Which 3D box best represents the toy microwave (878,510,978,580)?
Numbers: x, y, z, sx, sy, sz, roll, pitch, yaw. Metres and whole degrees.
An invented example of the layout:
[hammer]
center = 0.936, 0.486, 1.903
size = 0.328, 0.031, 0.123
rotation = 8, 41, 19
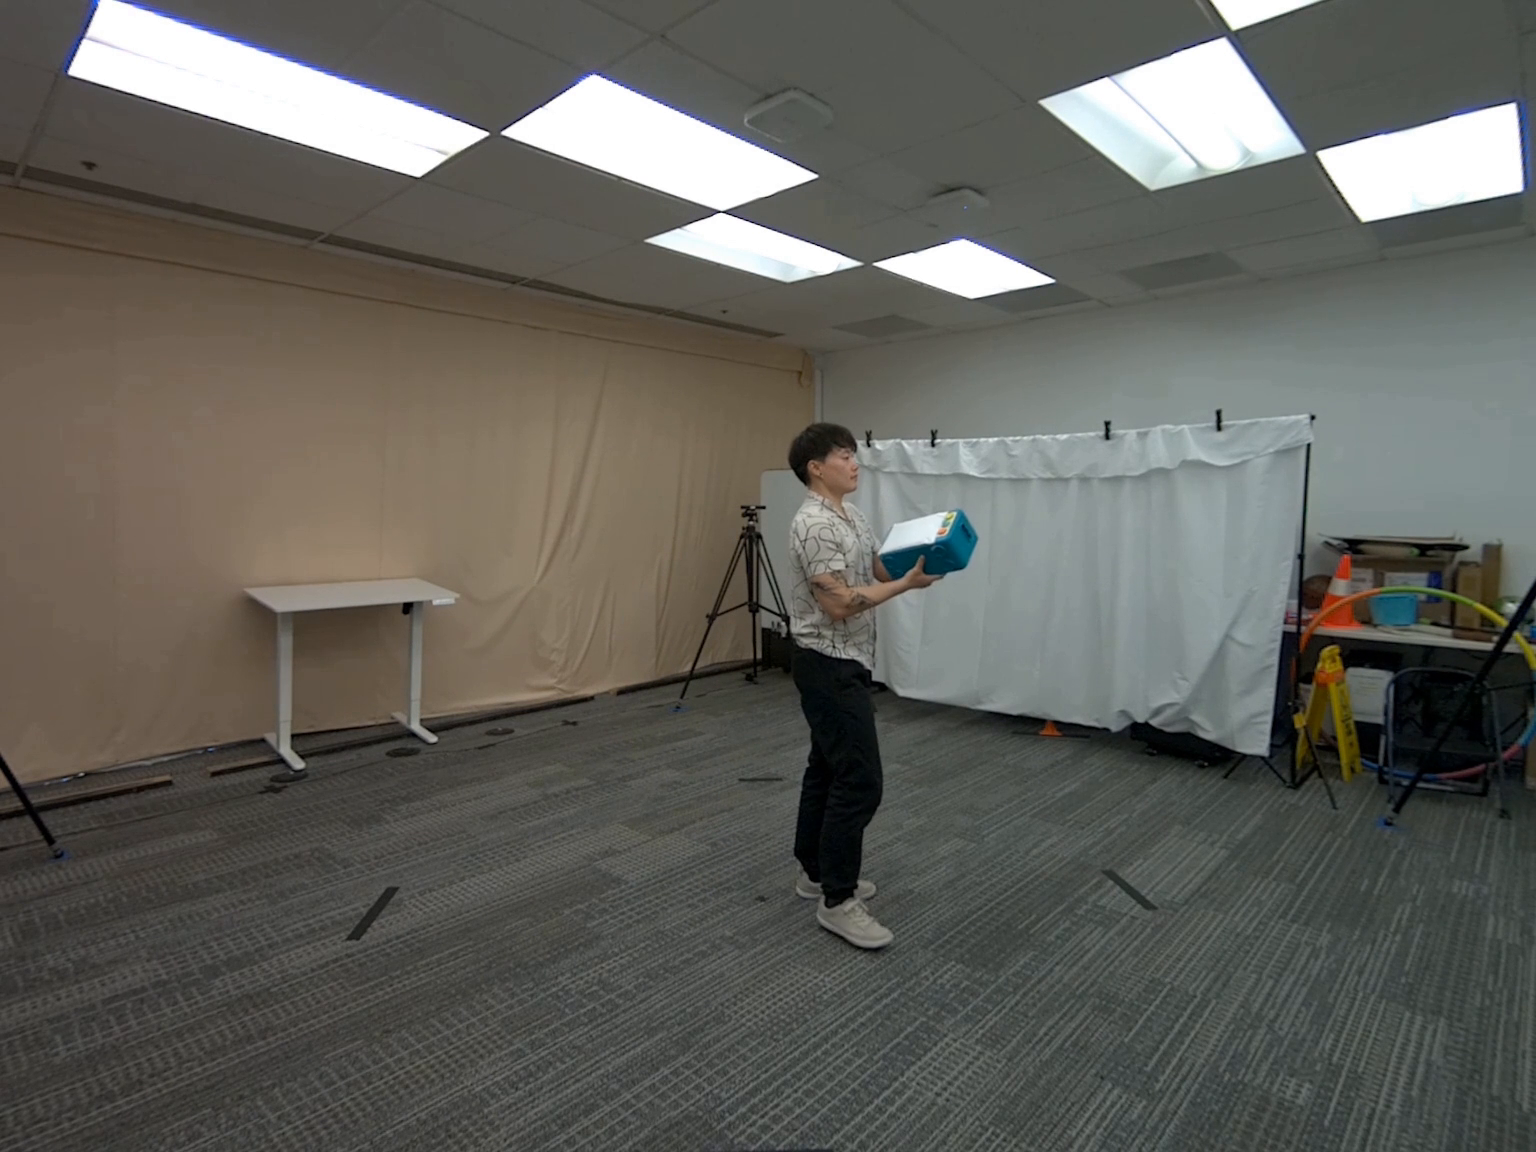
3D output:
[toy microwave]
center = 0.530, -0.102, 2.788
size = 0.293, 0.149, 0.183
rotation = -15, 30, 44
